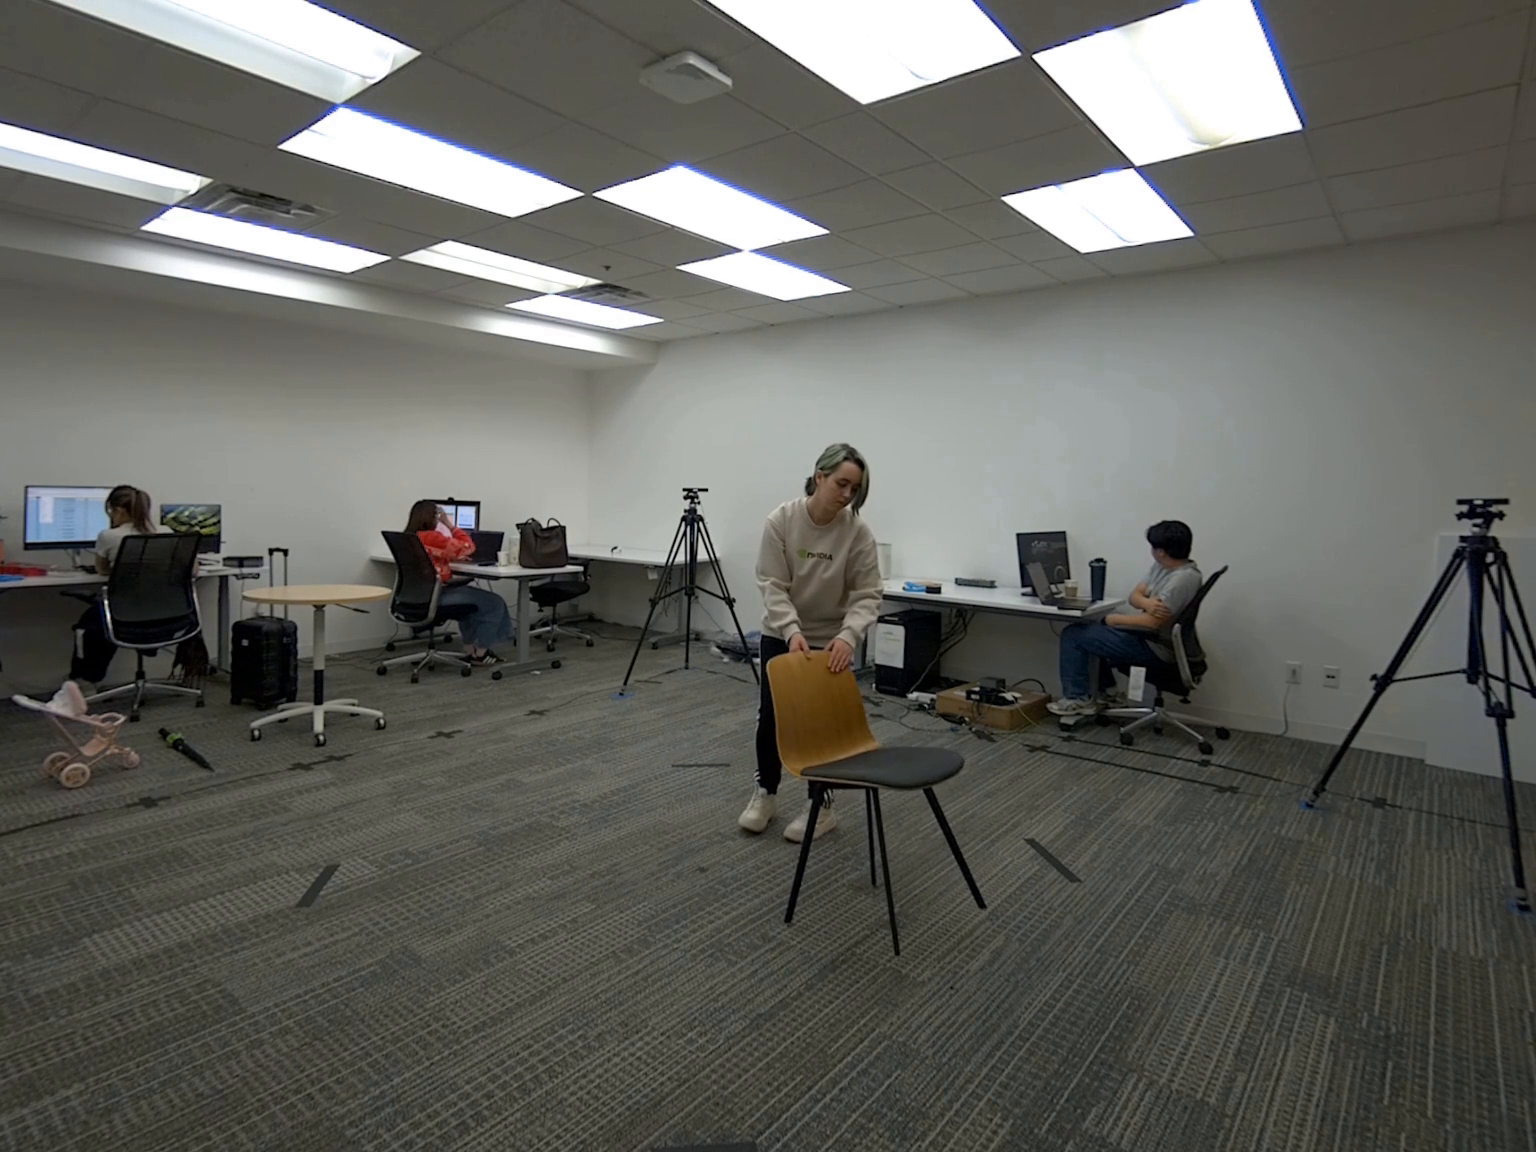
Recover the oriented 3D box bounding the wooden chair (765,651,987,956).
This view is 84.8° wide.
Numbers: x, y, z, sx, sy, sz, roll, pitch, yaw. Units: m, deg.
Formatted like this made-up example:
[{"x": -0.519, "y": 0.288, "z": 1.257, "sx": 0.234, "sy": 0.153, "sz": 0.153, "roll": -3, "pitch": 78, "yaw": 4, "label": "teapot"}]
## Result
[{"x": 0.321, "y": 0.654, "z": 2.743, "sx": 0.463, "sy": 0.887, "sz": 0.534, "roll": -1, "pitch": -12, "yaw": -43, "label": "wooden chair"}]
